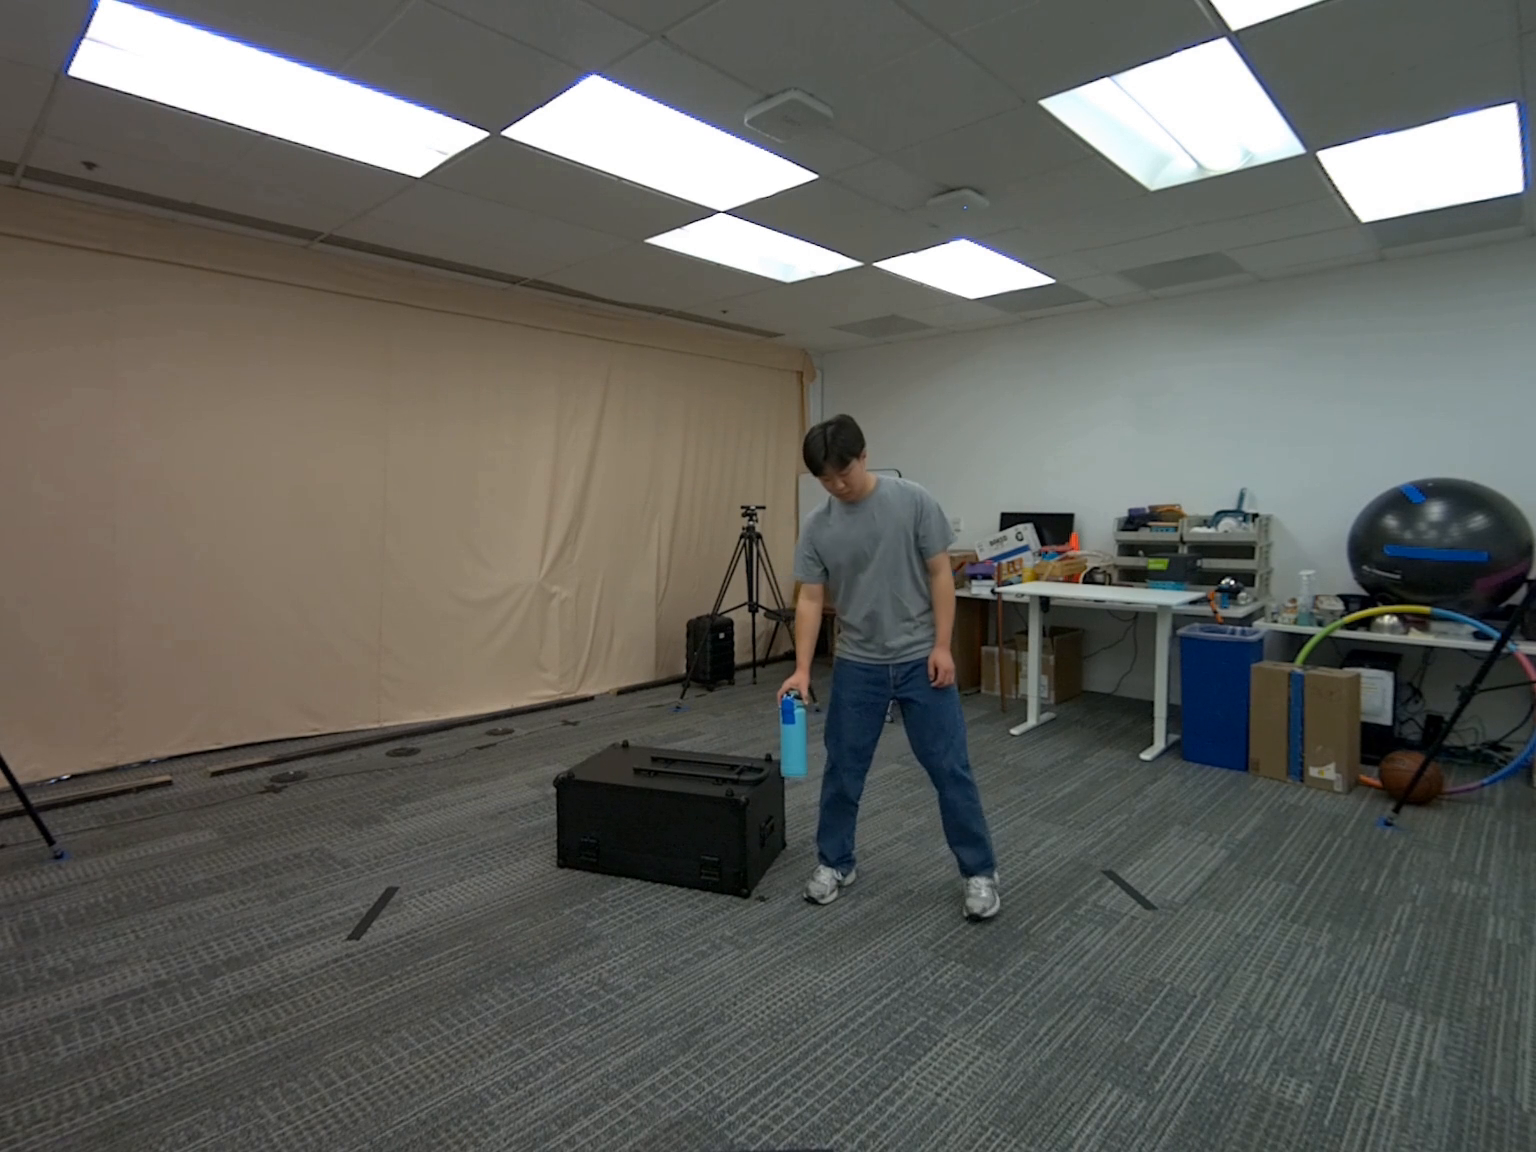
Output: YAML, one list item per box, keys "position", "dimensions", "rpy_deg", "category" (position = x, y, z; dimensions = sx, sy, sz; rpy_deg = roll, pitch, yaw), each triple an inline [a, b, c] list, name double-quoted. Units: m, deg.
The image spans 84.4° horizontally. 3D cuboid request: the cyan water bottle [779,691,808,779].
- position: [0.100, 0.532, 2.874]
  dimensions: [0.092, 0.284, 0.092]
  rpy_deg: [-2, -2, -2]
  category: "cyan water bottle"
